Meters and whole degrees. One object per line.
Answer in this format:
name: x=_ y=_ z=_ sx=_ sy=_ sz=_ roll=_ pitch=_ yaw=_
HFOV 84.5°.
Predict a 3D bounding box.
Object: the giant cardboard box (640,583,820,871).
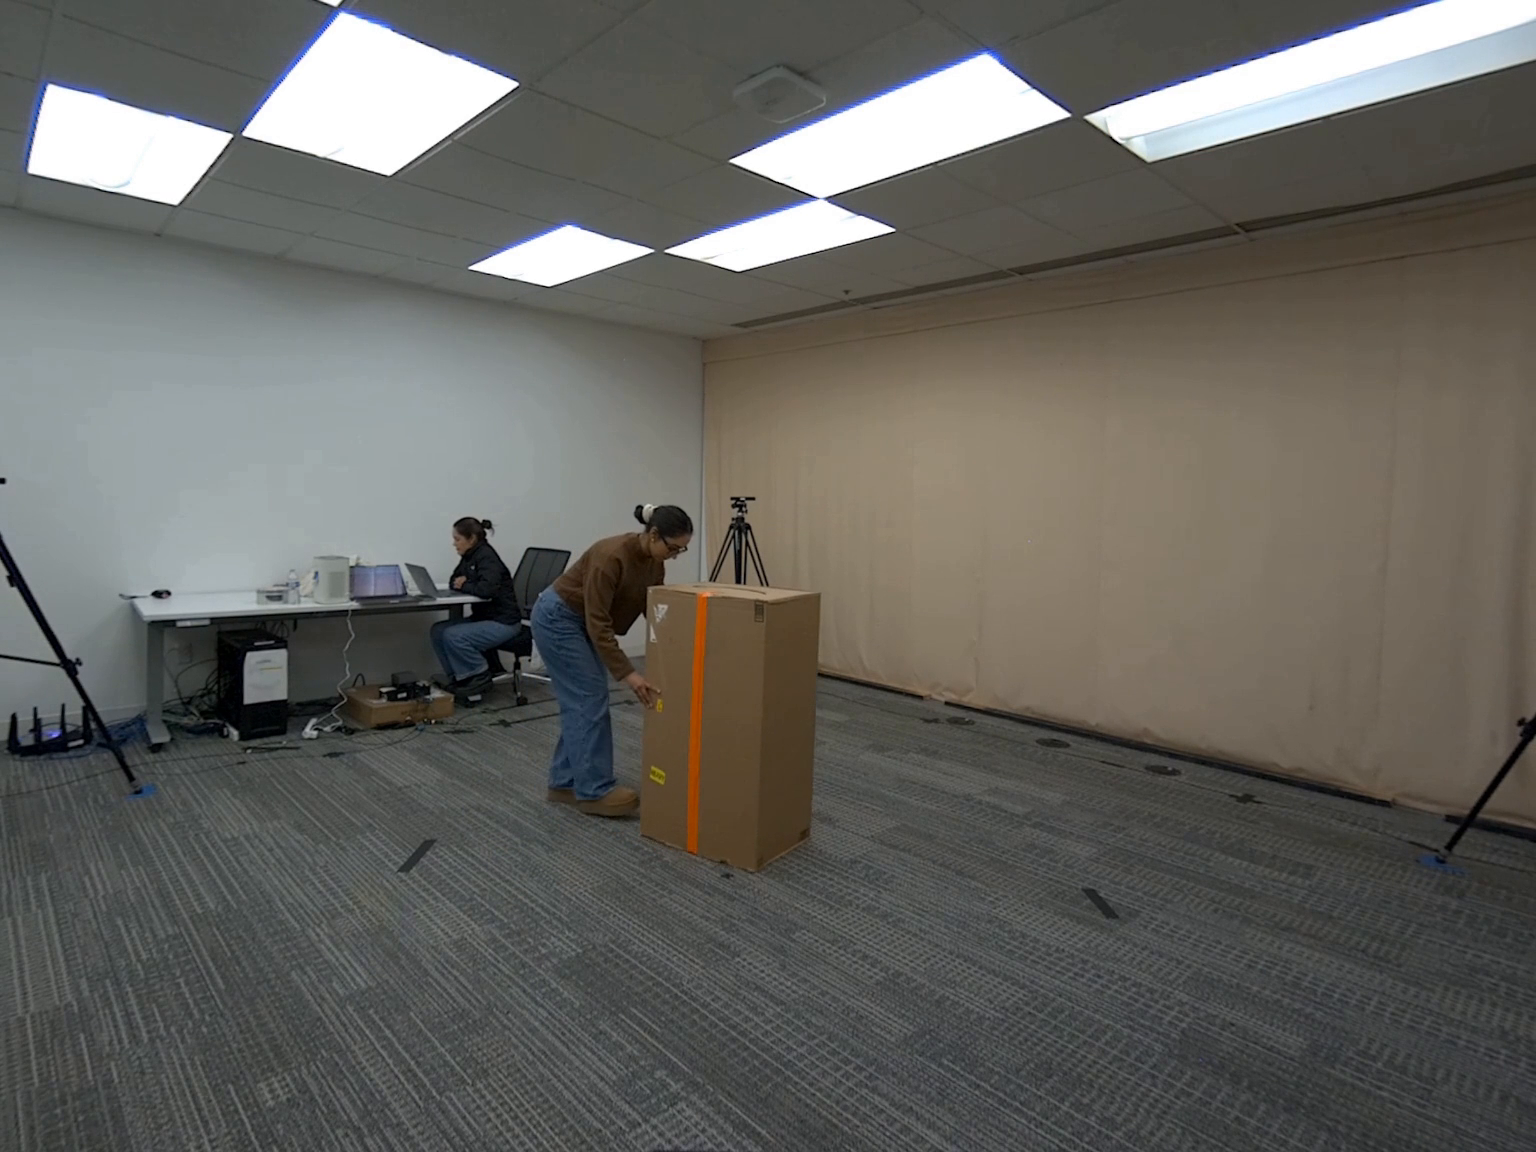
giant cardboard box: x=-0.161 y=0.569 z=3.435 sx=0.591 sy=1.023 sz=0.417 roll=5 pitch=4 yaw=34
